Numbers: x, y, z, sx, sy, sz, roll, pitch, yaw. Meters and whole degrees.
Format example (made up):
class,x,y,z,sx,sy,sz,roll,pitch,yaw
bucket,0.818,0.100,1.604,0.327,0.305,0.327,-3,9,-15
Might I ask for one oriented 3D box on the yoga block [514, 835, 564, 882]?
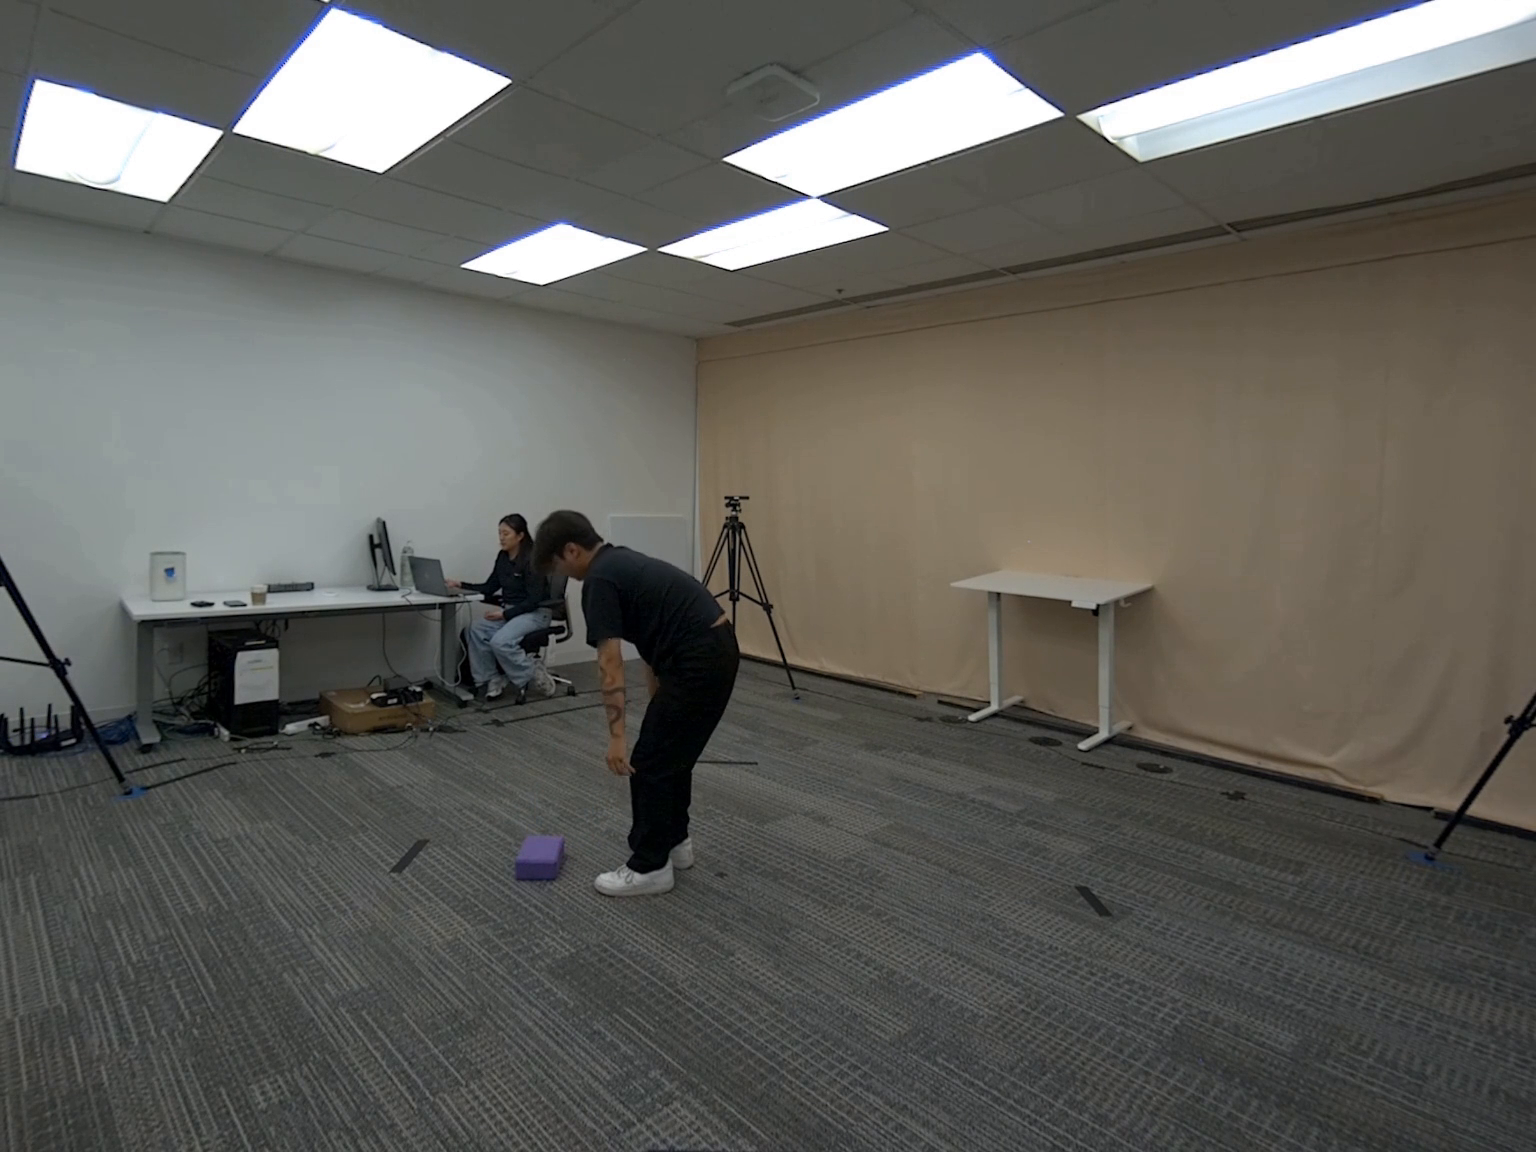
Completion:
class,x,y,z,sx,sy,sz,roll,pitch,yaw
yoga block,-0.855,1.043,3.143,0.149,0.076,0.230,2,6,-3
